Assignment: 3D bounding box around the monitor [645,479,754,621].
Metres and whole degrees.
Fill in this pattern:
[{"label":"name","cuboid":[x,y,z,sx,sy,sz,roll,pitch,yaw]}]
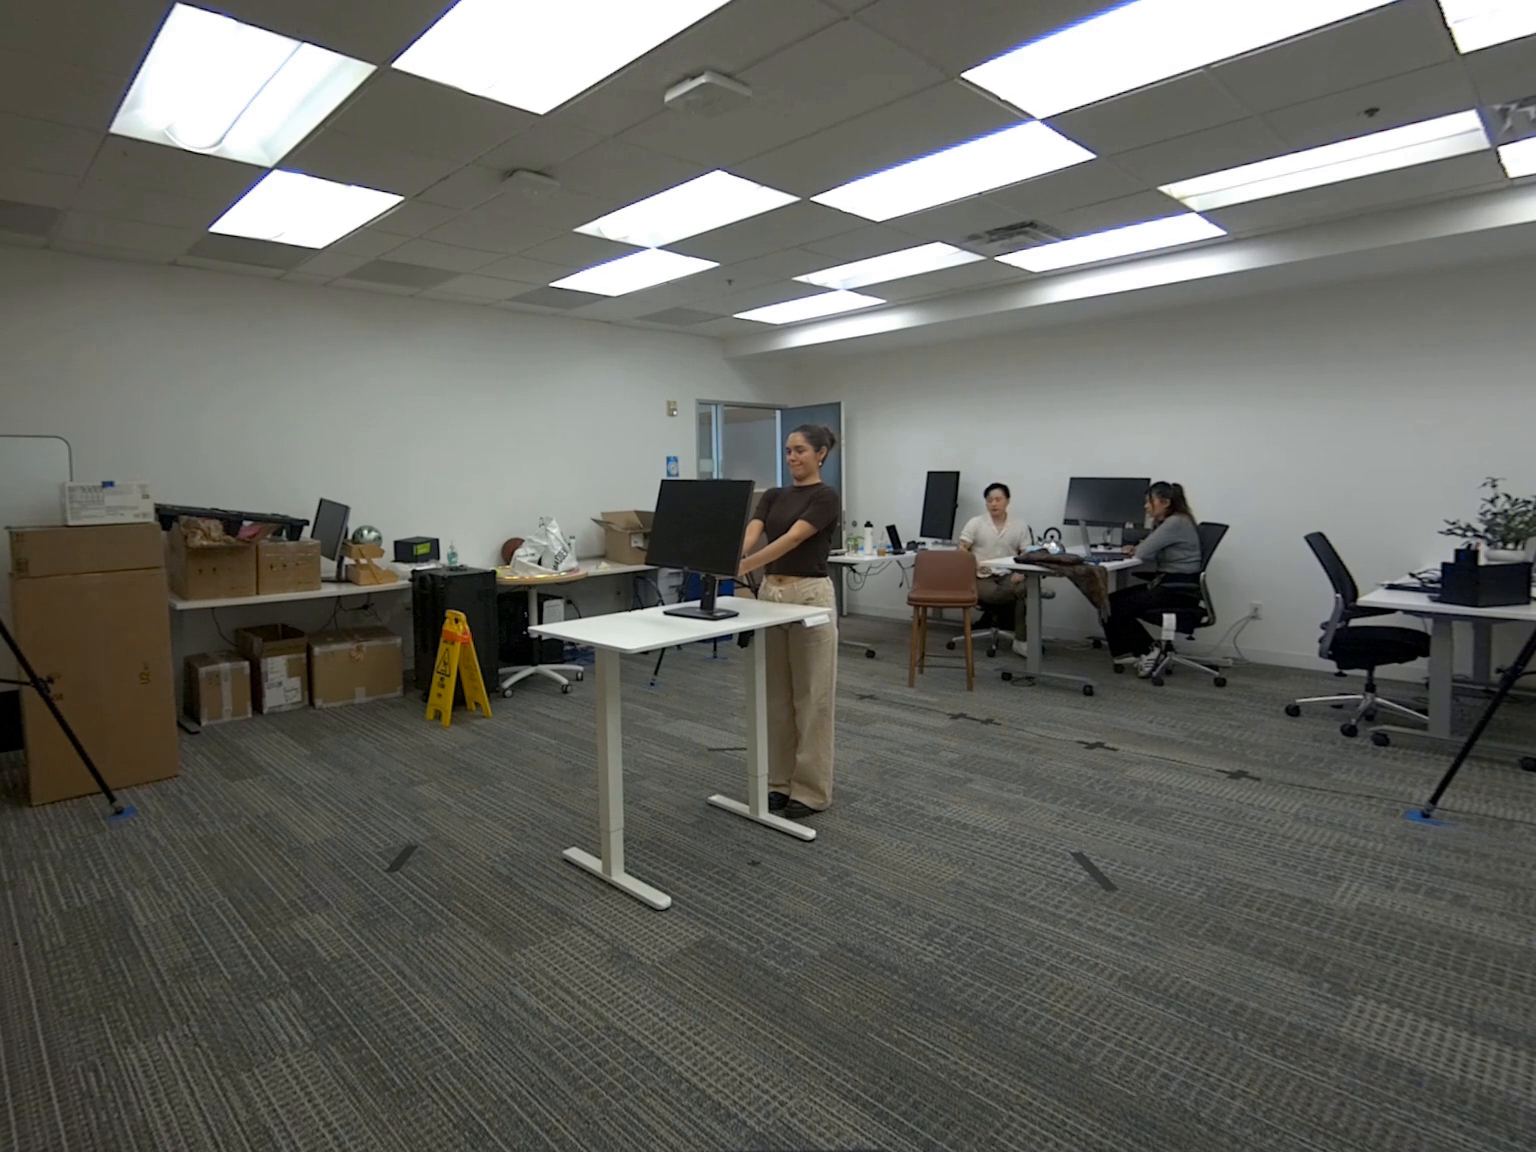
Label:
[{"label":"monitor","cuboid":[-0.246,-0.103,3.246,0.182,0.521,0.556,-2,5,-45]}]
